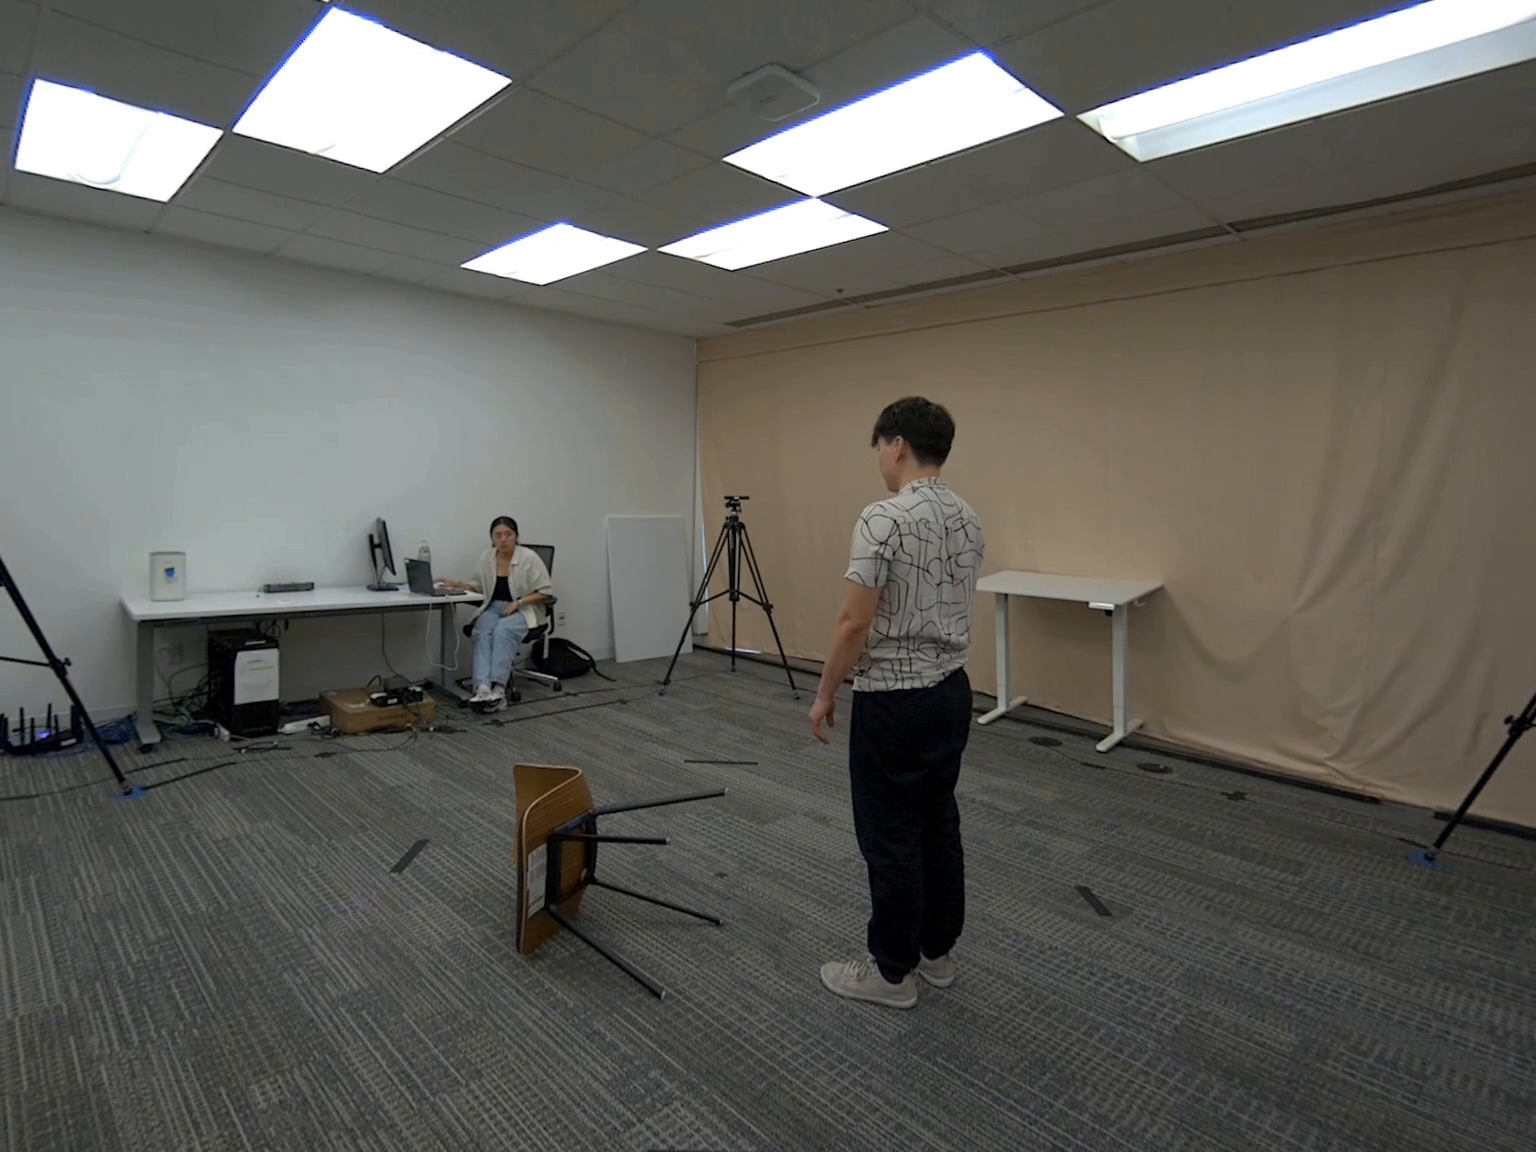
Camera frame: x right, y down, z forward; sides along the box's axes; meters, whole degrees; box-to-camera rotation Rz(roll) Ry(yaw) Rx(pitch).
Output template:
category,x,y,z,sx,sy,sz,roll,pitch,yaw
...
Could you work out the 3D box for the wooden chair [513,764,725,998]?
category,x,y,z,sx,sy,sz,roll,pitch,yaw
wooden chair,-0.625,0.907,2.661,0.894,0.476,0.515,5,6,24
